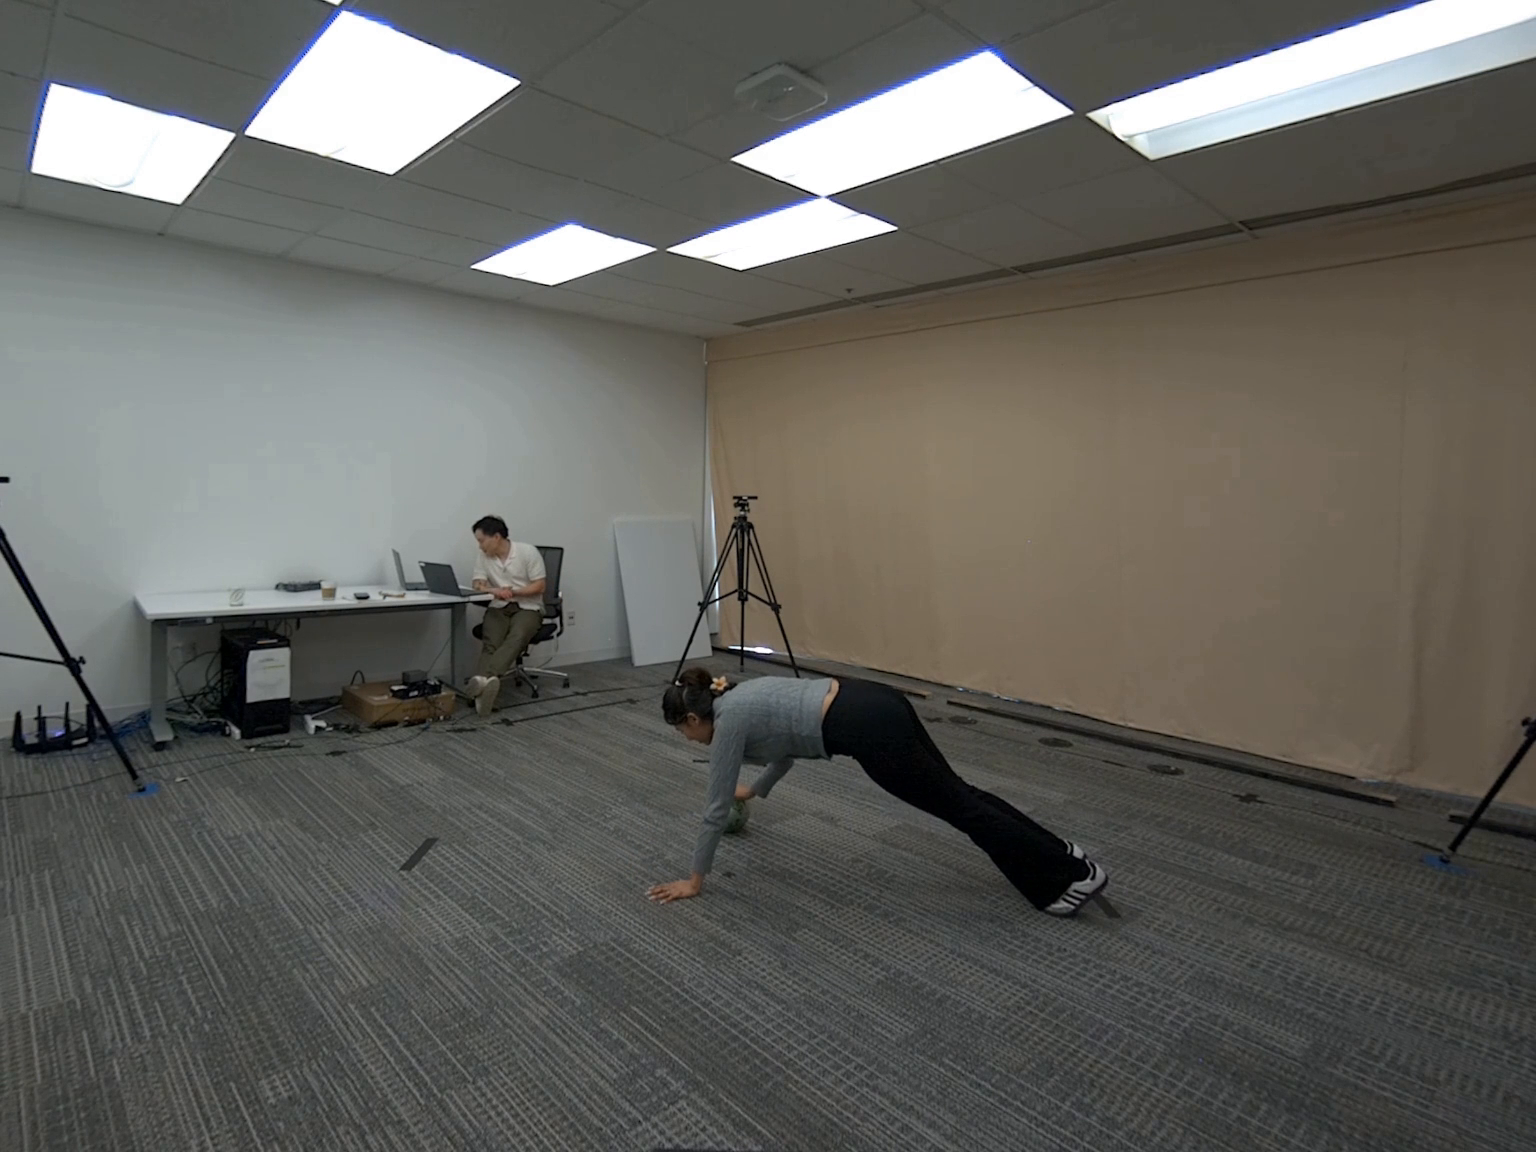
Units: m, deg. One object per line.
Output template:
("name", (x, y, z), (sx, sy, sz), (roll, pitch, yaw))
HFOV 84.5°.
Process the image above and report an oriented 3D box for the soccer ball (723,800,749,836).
("soccer ball", (-0.173, 0.975, 3.520), (0.187, 0.187, 0.188), (1, 4, -1))
